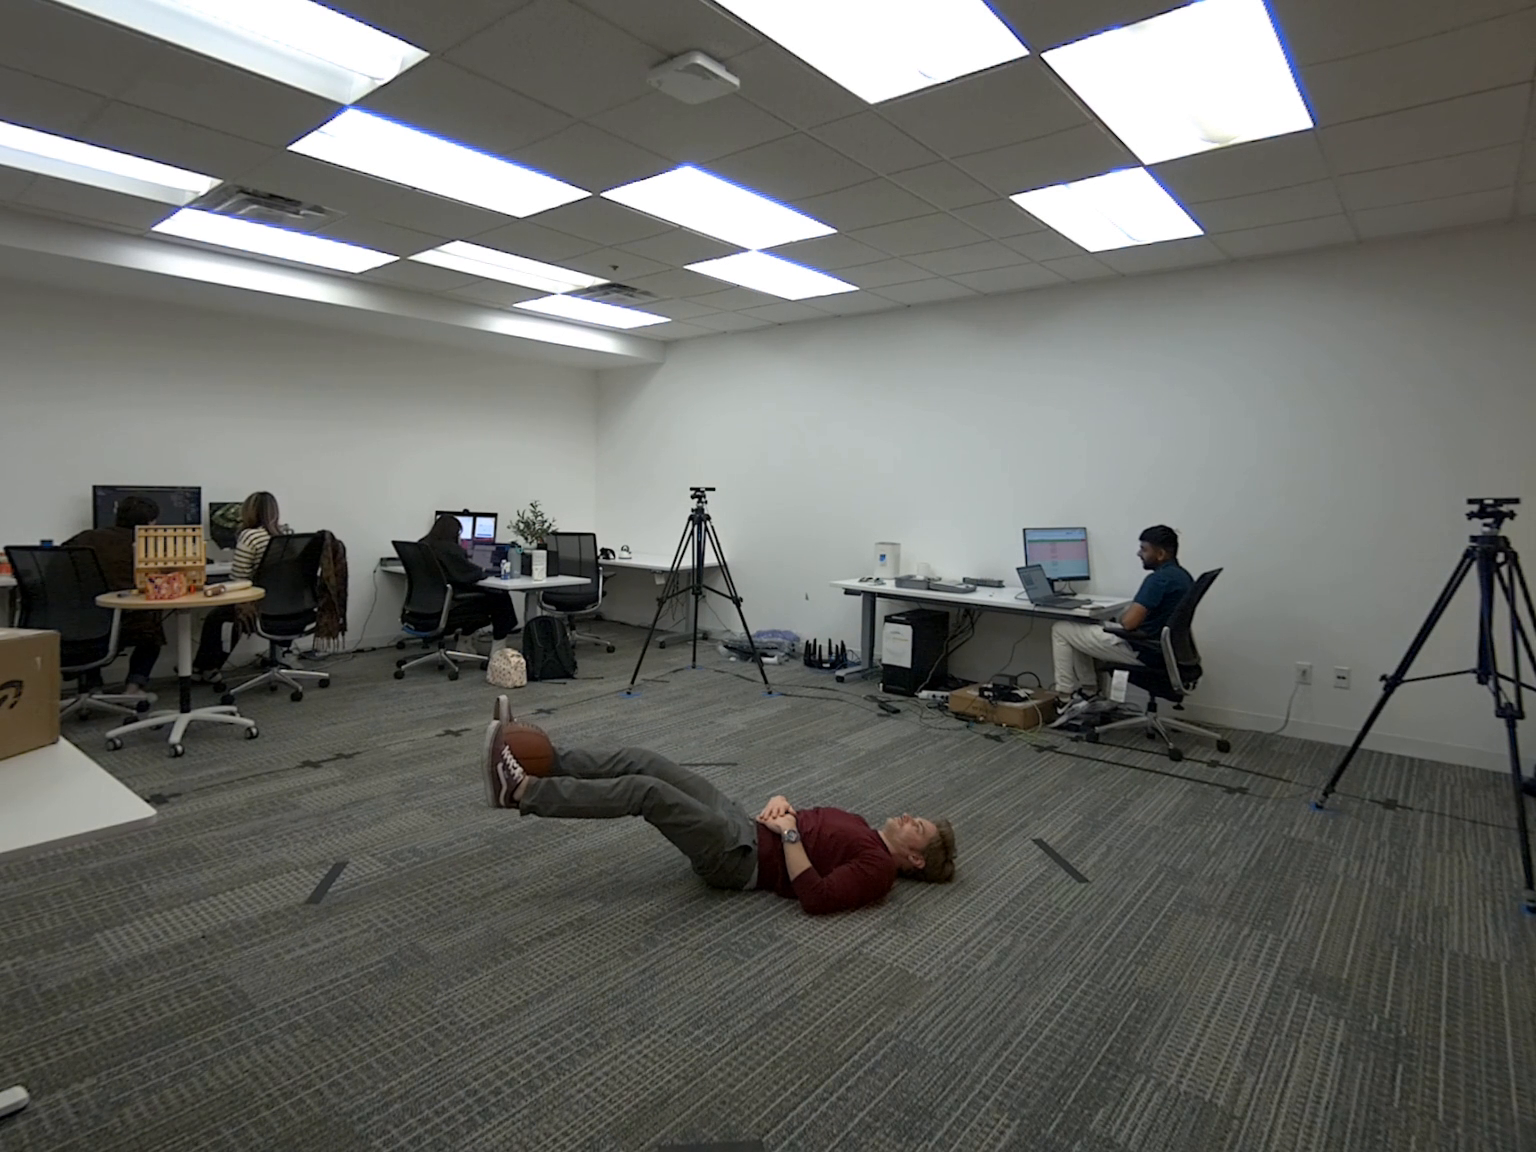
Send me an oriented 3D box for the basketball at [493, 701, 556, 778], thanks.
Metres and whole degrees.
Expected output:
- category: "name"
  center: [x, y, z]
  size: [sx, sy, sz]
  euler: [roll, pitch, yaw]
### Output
- category: "basketball"
  center: [-0.876, 0.617, 2.949]
  size: [0.236, 0.235, 0.237]
  euler: [-3, 3, -2]
